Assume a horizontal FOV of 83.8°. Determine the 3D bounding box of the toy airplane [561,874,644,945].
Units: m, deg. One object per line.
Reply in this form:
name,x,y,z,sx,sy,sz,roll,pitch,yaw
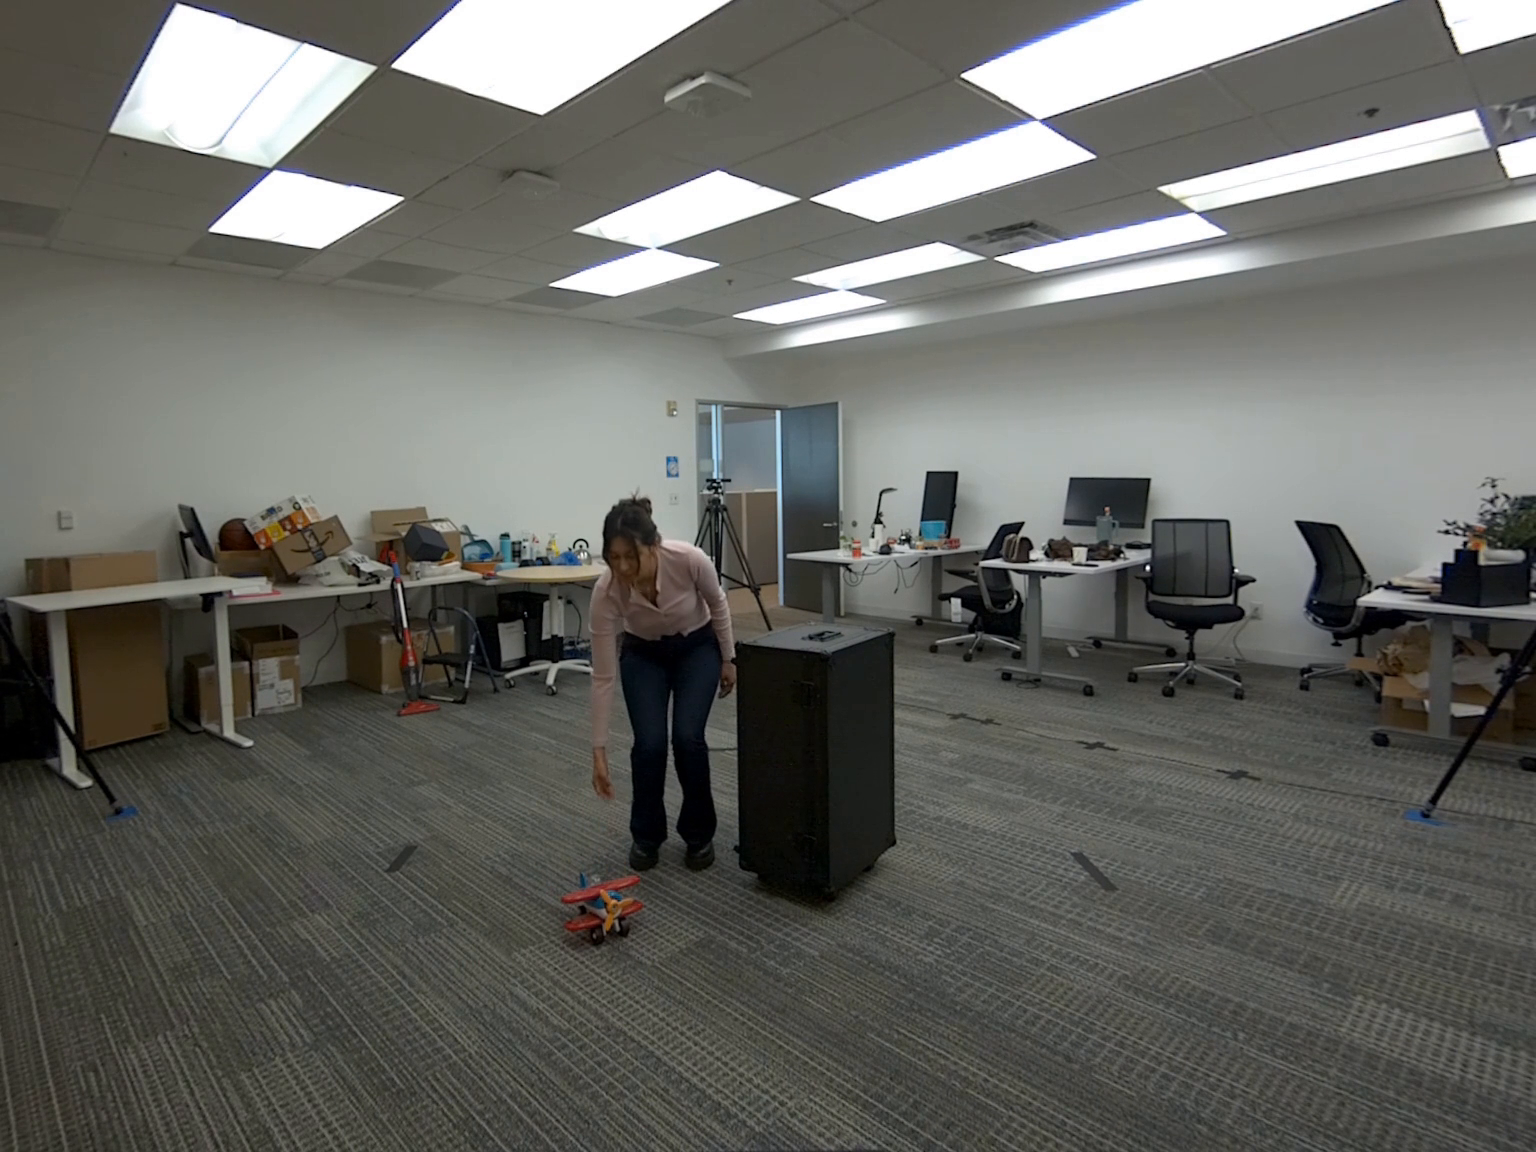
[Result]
toy airplane,-0.544,1.038,2.663,0.266,0.156,0.246,5,7,27
